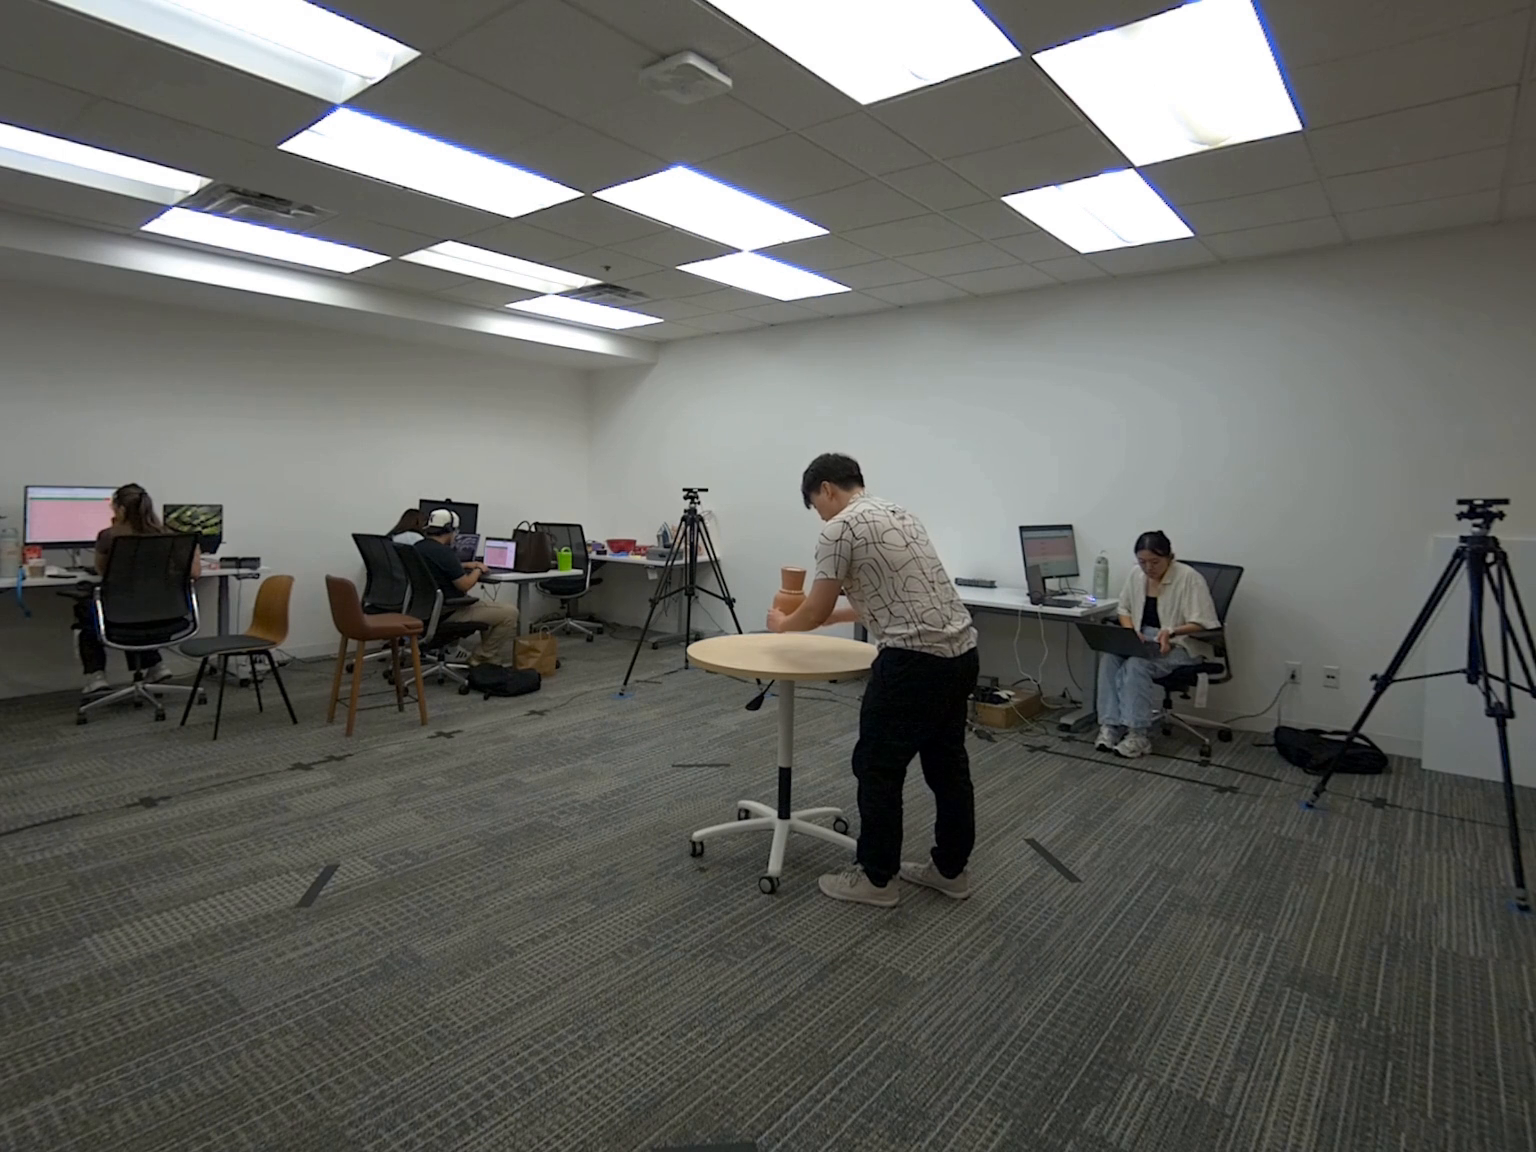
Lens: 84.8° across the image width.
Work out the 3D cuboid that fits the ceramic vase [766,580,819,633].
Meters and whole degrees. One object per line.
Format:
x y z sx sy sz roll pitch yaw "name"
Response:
0.086 0.080 3.219 0.136 0.218 0.159 4 7 5 "ceramic vase"
